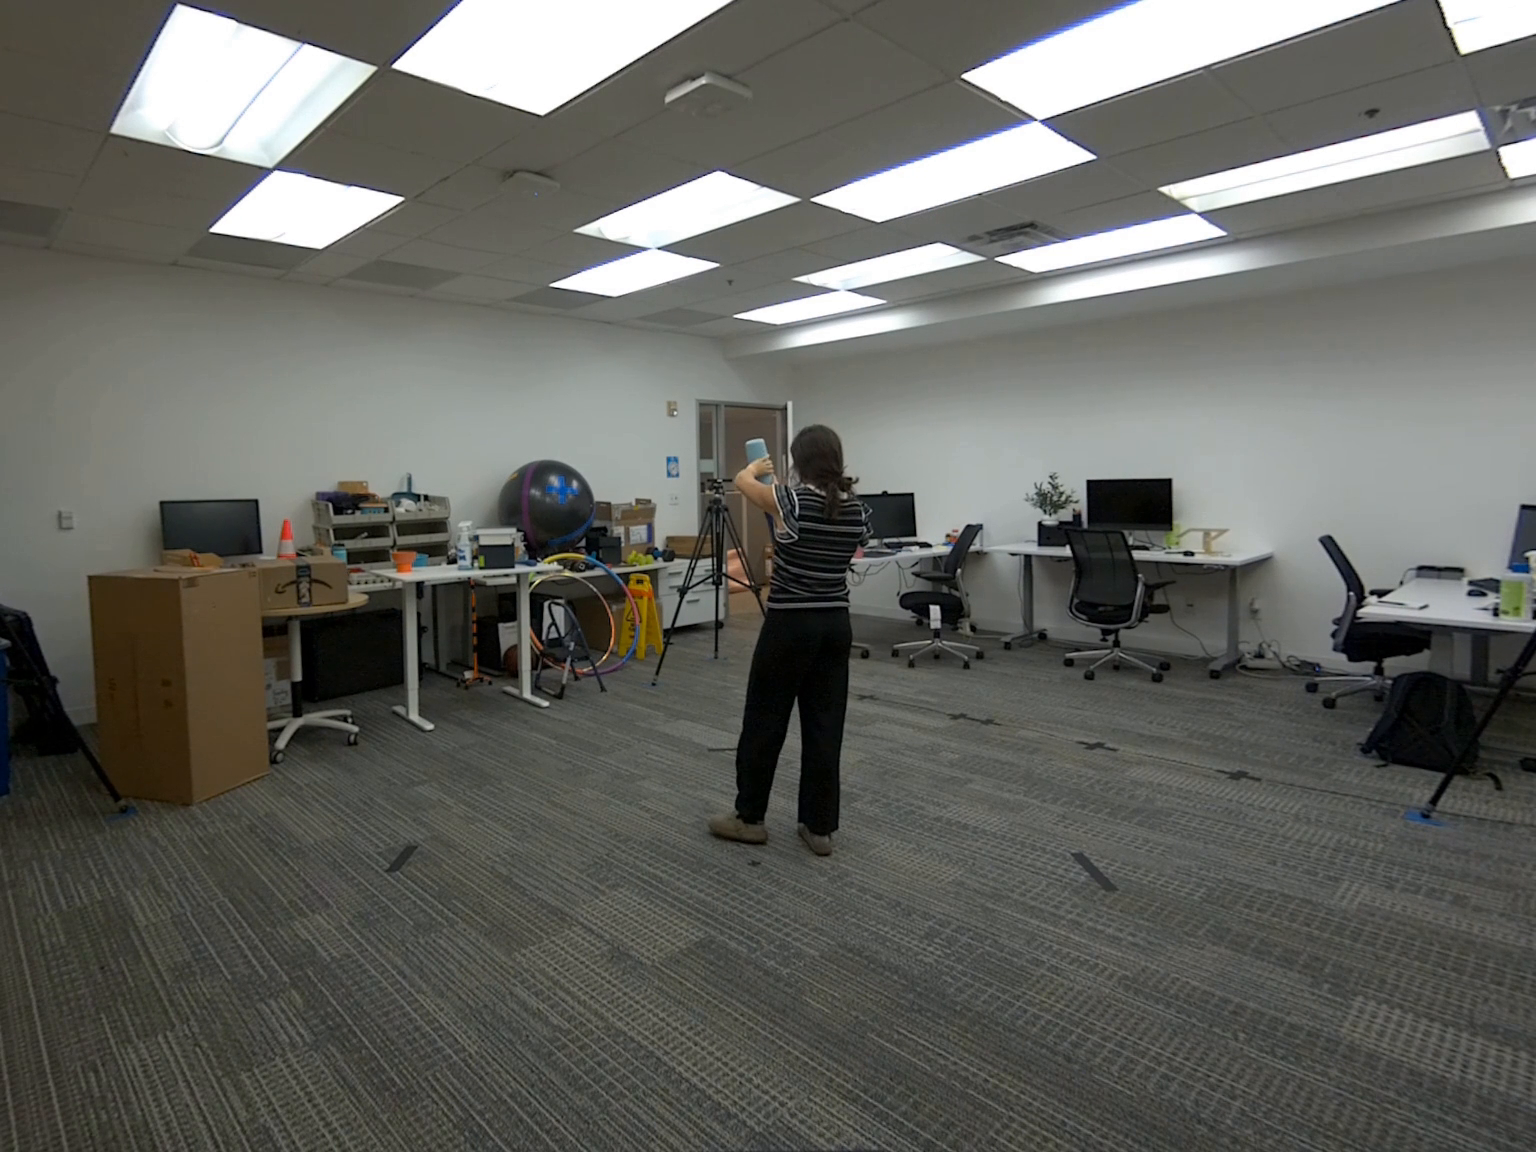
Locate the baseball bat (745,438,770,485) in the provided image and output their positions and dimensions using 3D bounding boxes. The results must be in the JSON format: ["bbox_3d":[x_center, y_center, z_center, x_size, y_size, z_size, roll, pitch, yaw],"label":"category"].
[{"bbox_3d":[-0.006,-0.331,3.727,0.089,0.536,0.090,-12,11,1],"label":"baseball bat"}]
